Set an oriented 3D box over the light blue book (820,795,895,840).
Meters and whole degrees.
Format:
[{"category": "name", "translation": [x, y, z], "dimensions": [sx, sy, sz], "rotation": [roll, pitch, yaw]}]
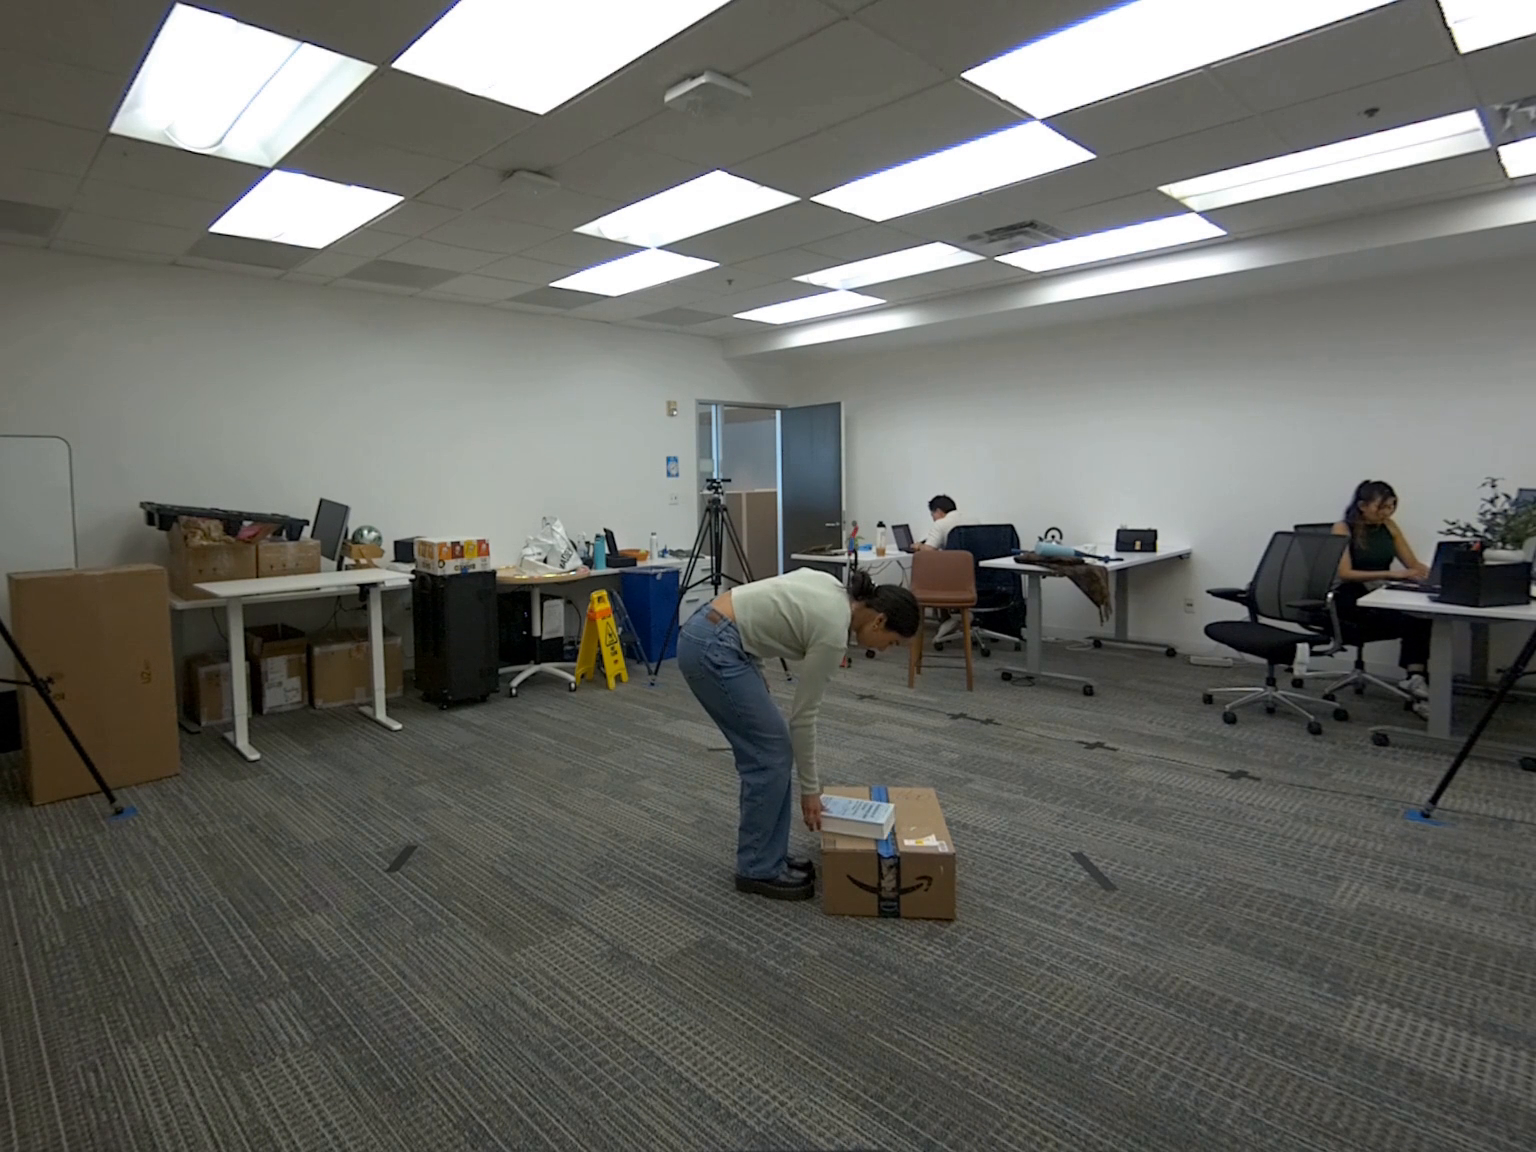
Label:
[{"category": "light blue book", "translation": [0.288, 0.809, 2.913], "dimensions": [0.266, 0.059, 0.188], "rotation": [2, 6, 21]}]
